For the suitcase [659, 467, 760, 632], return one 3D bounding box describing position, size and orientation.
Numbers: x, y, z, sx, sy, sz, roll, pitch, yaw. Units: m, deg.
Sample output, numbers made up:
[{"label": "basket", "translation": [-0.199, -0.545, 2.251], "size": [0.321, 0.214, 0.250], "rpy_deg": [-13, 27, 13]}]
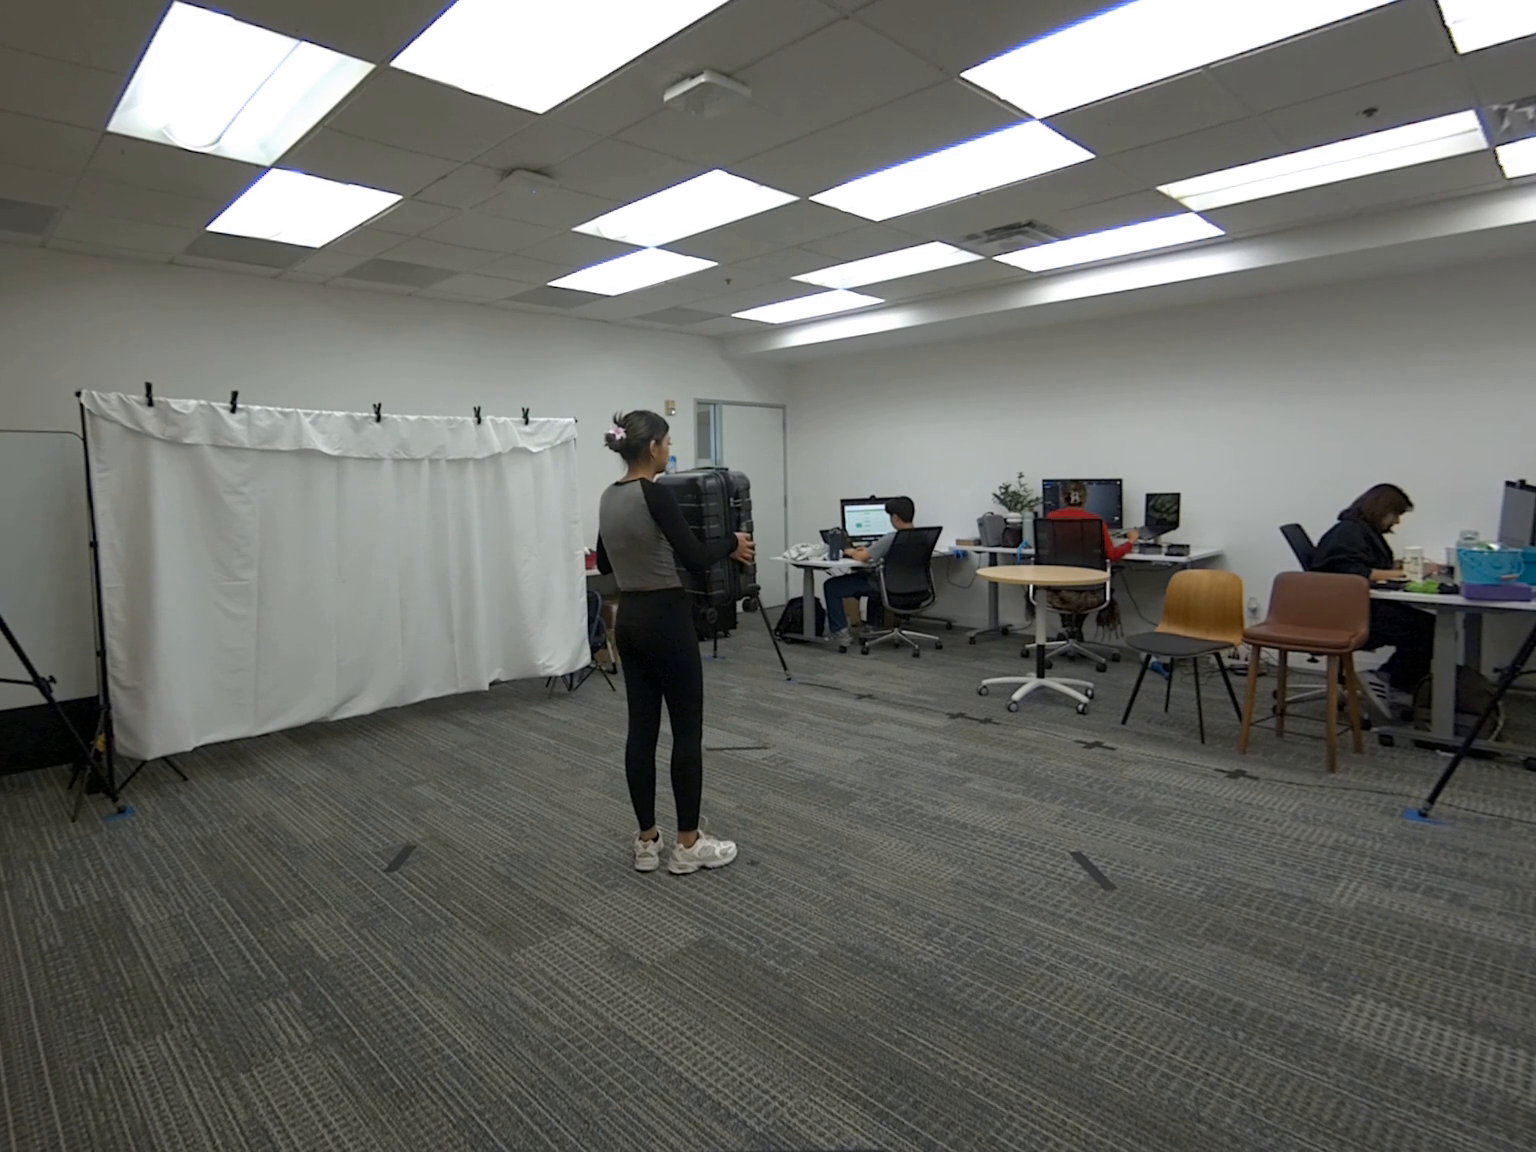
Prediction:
[{"label": "suitcase", "translation": [-0.239, -0.139, 3.264], "size": [0.242, 0.545, 0.387], "rpy_deg": [-9, 10, -39]}]
